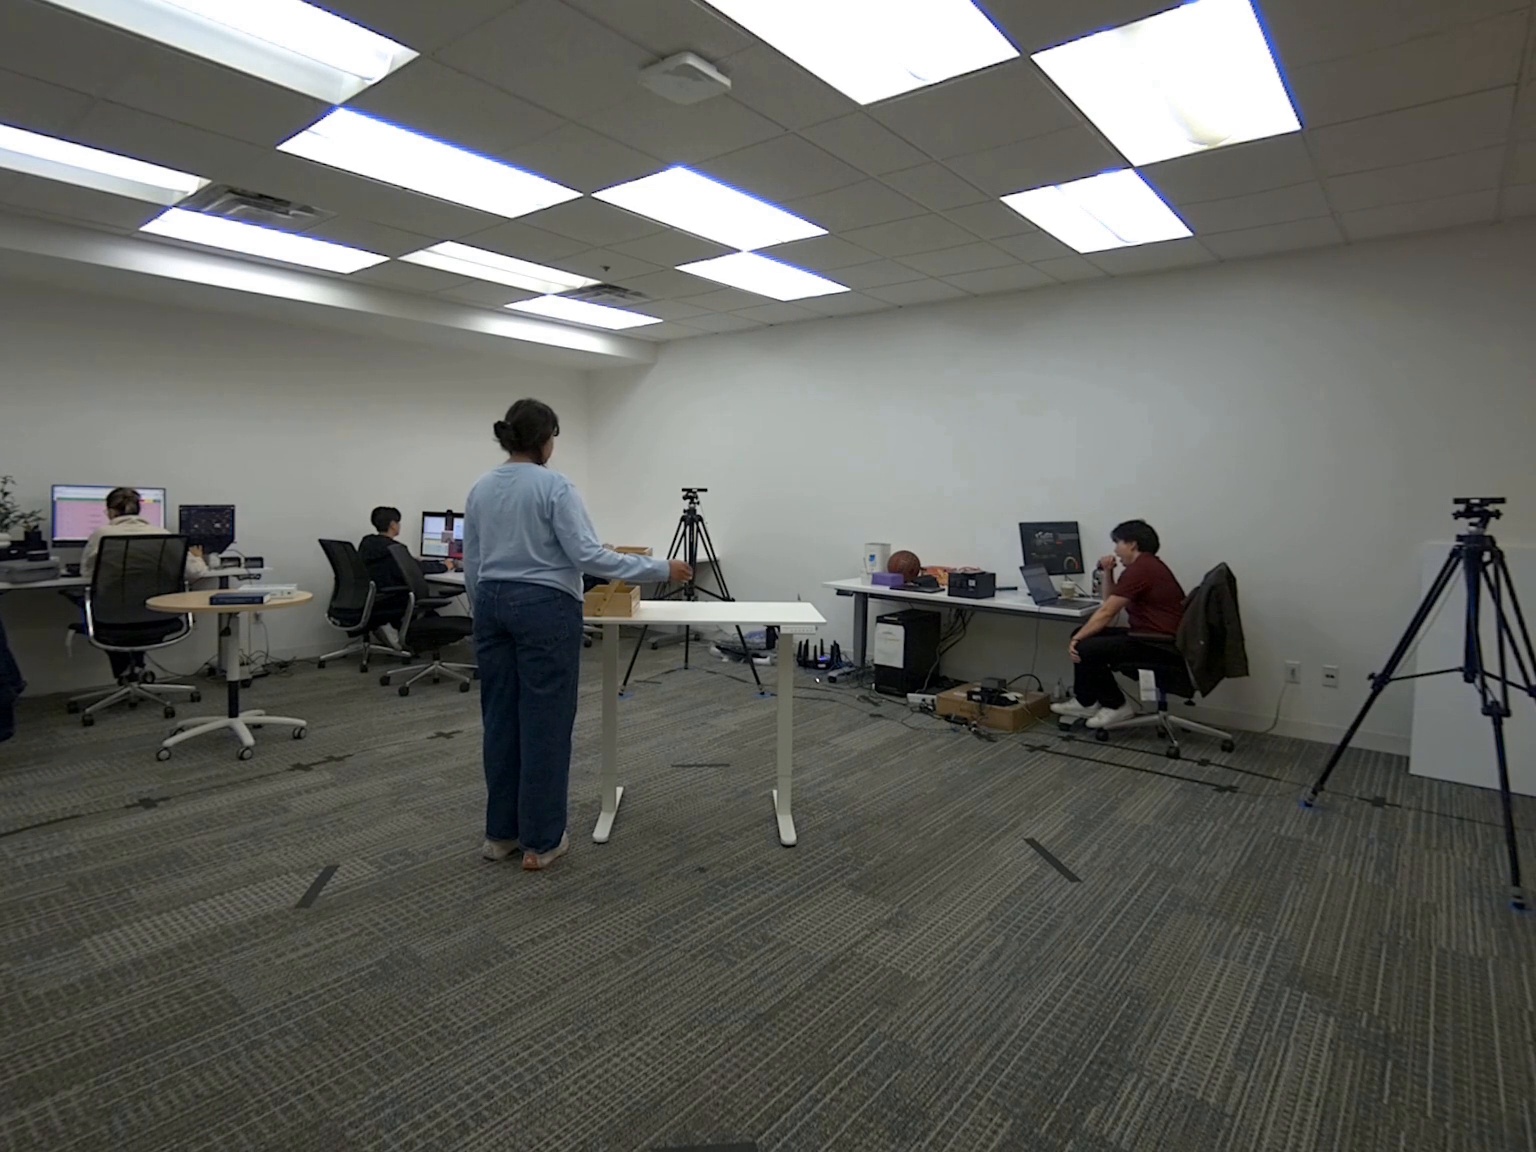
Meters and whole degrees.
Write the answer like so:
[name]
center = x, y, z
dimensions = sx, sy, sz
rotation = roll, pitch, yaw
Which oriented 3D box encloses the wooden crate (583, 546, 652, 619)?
[wooden crate]
center = -0.662, 0.012, 3.505
dimensions = 0.302, 0.272, 0.325
rotation = 2, 4, 0
